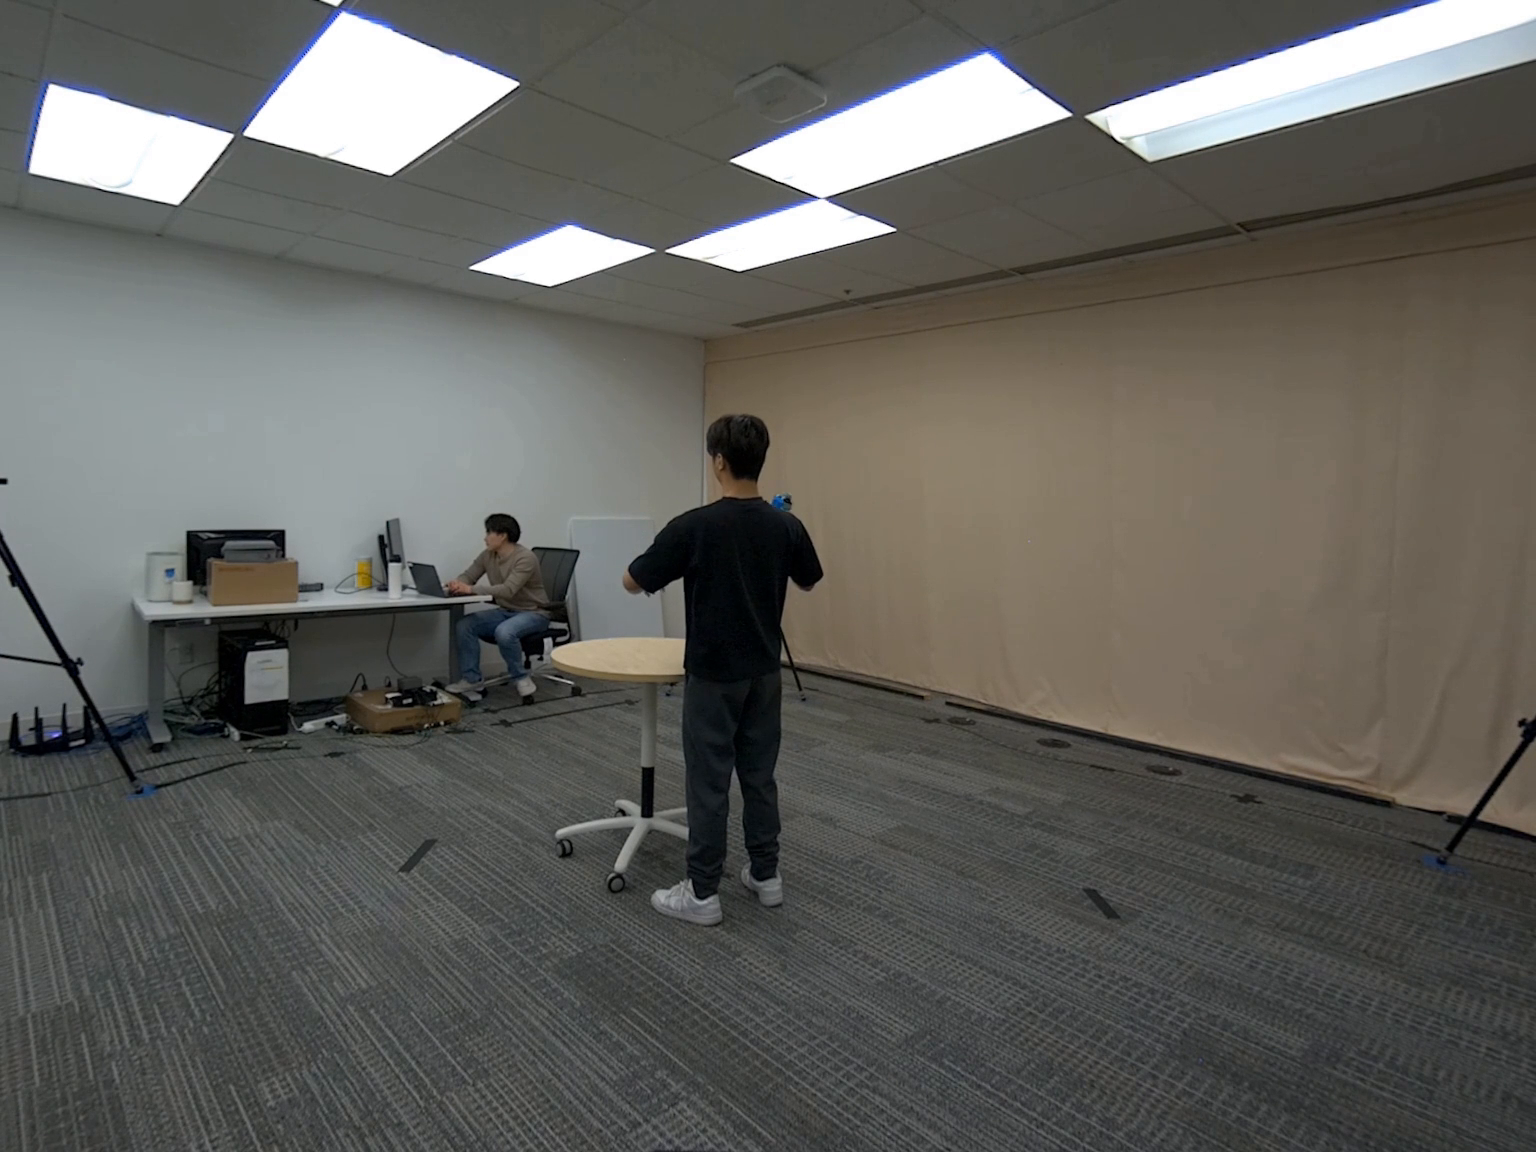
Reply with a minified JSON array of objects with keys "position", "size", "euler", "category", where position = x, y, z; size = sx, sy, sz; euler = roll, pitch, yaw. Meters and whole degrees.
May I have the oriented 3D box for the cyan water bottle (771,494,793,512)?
[{"position":[0.010,-0.184,3.311],"size":[0.092,0.281,0.093],"euler":[16,16,-6],"category":"cyan water bottle"}]
